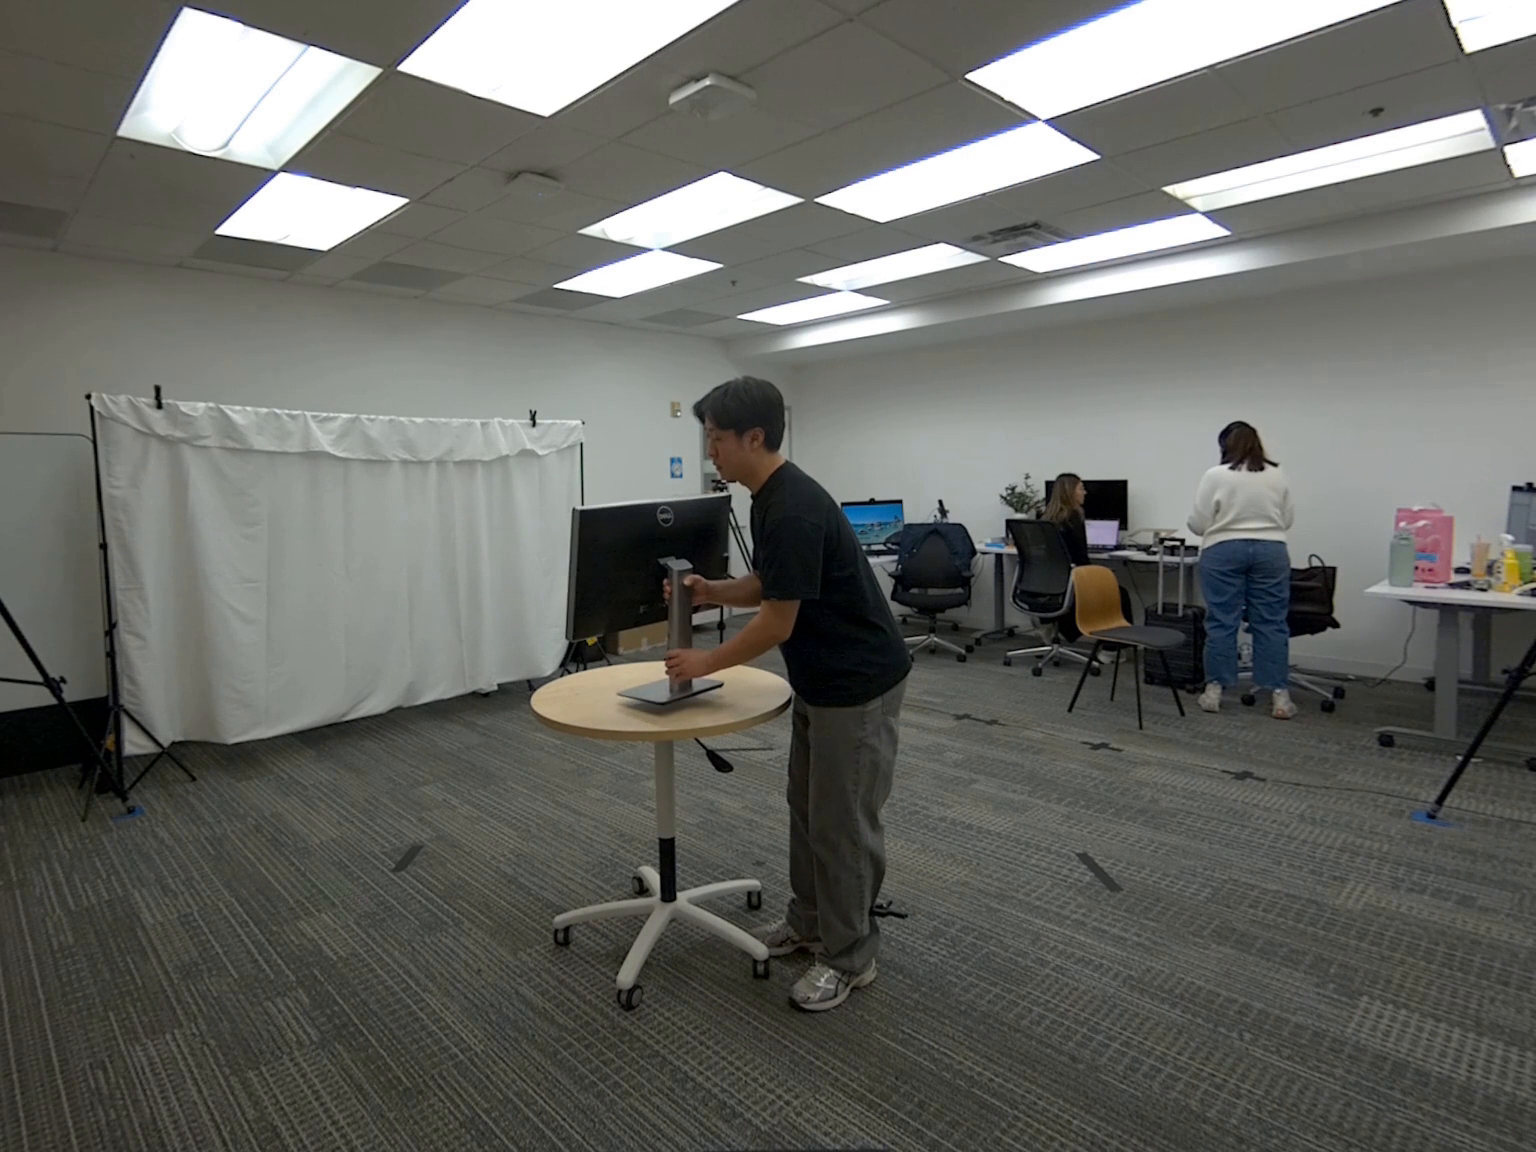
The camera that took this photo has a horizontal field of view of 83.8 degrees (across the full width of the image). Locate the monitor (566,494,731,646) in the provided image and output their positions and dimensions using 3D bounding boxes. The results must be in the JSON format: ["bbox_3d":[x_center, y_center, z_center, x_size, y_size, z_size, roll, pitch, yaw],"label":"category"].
[{"bbox_3d":[-0.289,0.068,2.384,0.548,0.564,0.228,-9,5,-43],"label":"monitor"}]
